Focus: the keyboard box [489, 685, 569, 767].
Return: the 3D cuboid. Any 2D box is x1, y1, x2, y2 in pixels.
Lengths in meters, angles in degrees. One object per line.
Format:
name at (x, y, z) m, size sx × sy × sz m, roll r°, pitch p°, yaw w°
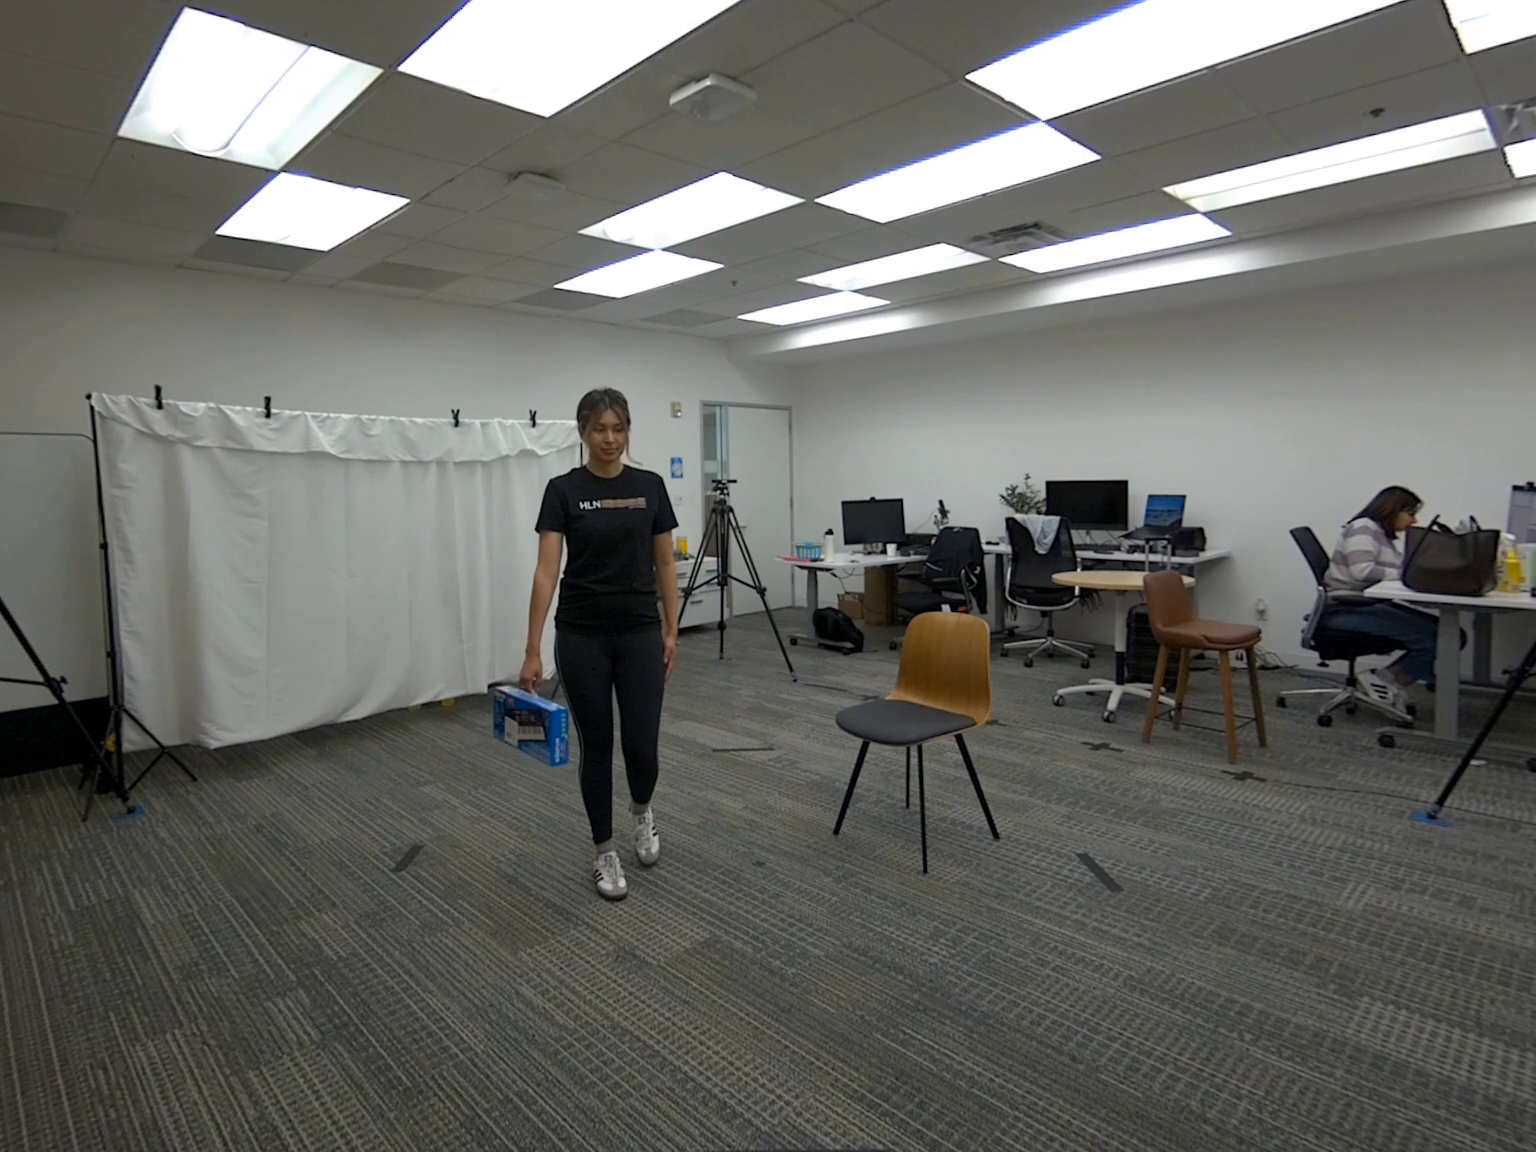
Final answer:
keyboard box at (-0.767, 0.478, 2.767) m, size 0.057 × 0.175 × 0.450 m, roll -1°, pitch 4°, yaw -38°
